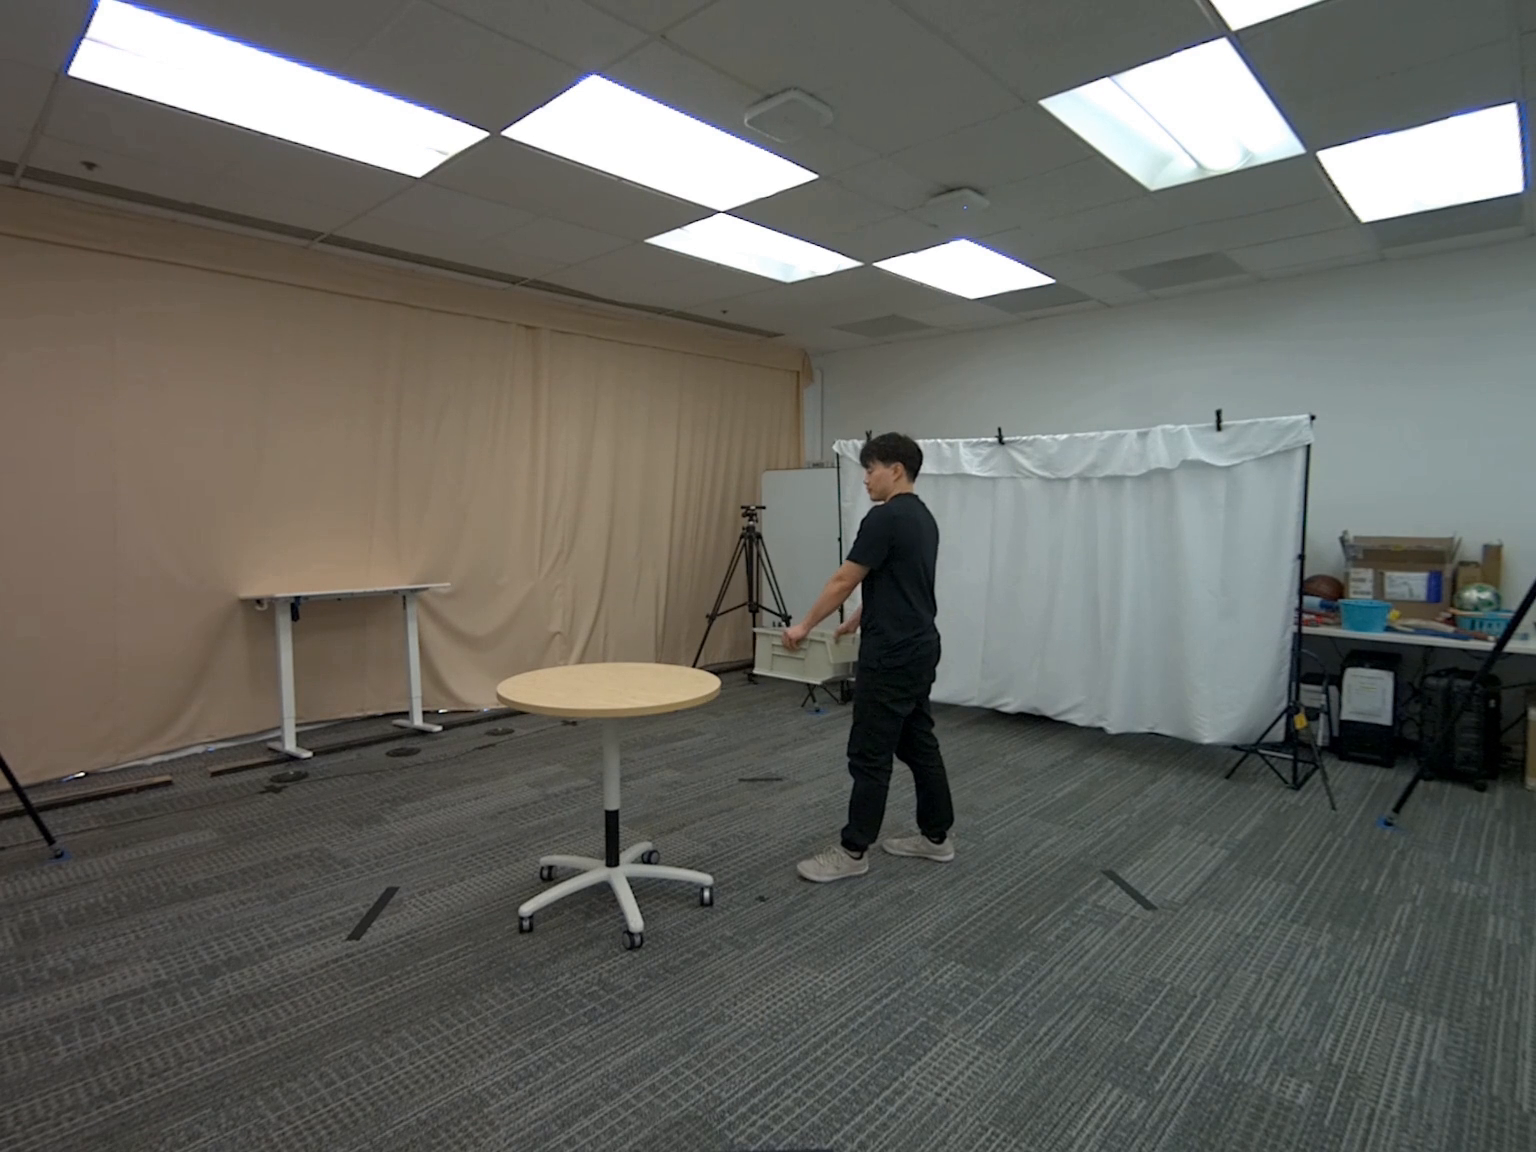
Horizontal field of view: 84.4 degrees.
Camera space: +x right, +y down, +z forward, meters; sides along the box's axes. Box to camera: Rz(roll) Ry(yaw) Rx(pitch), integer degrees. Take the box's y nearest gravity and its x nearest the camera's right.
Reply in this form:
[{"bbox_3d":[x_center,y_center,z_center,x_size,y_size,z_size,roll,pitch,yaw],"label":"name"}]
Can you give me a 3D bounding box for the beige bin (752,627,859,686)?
[{"bbox_3d":[0.203,0.317,3.459,0.389,0.189,0.409,4,2,34],"label":"beige bin"}]
